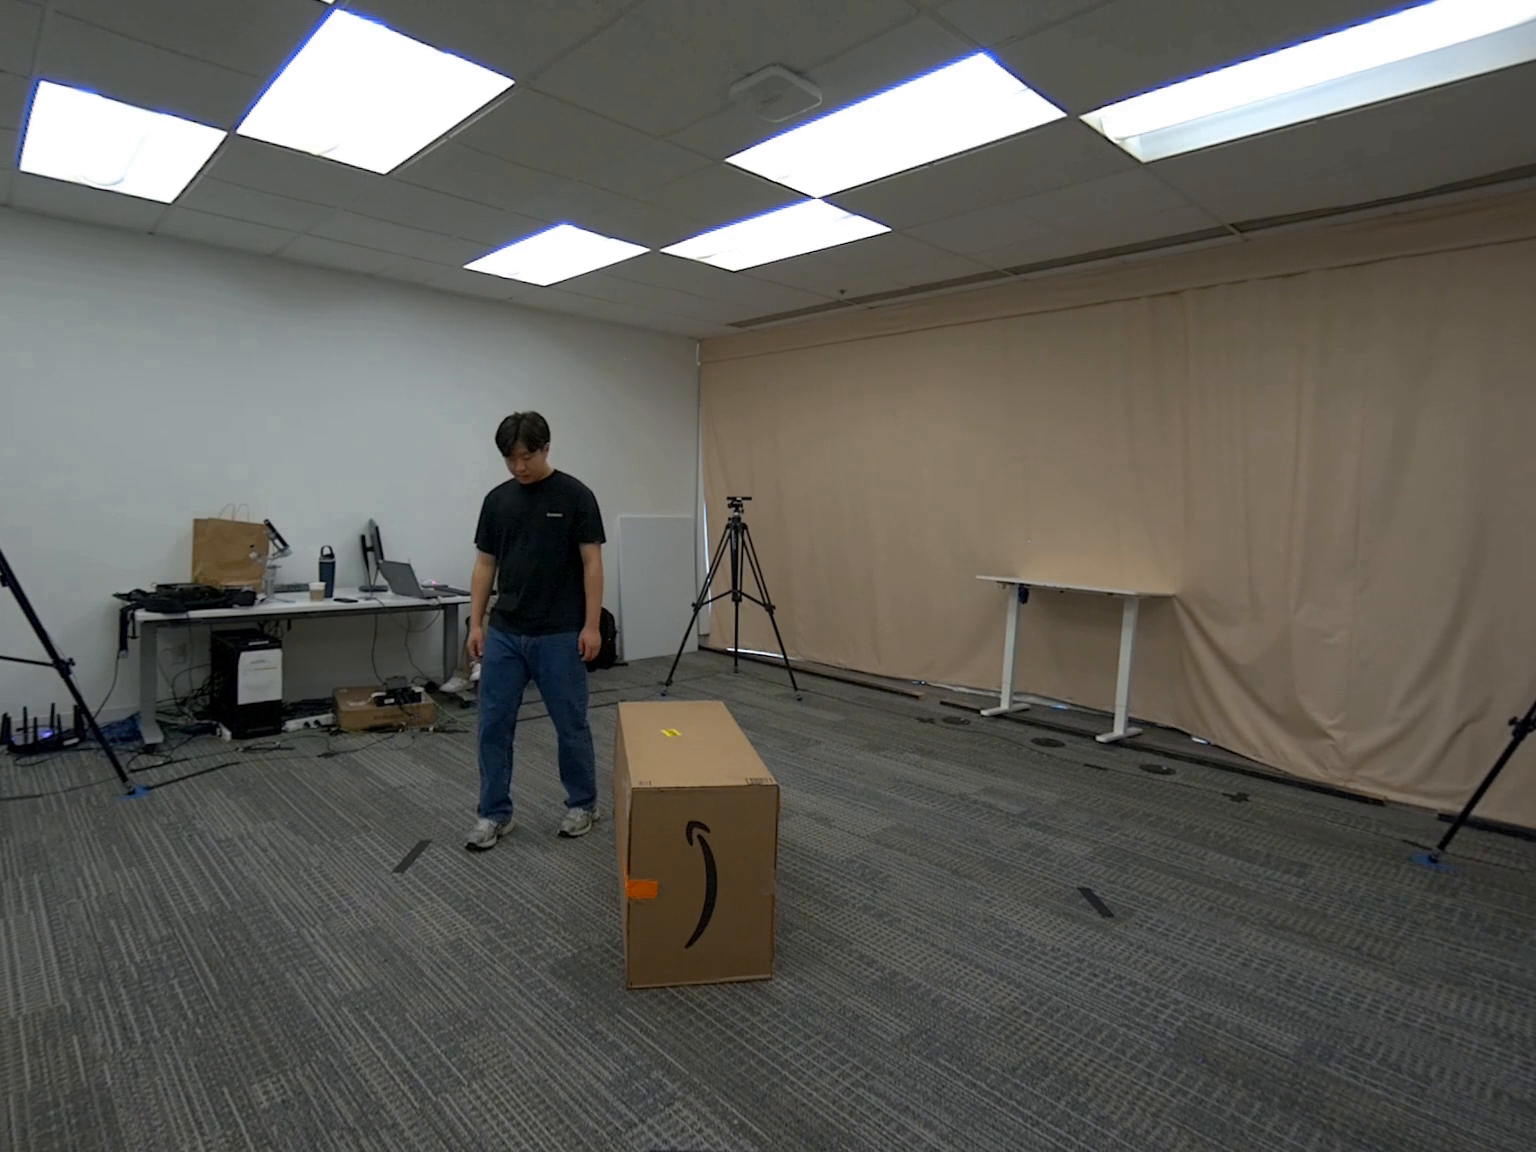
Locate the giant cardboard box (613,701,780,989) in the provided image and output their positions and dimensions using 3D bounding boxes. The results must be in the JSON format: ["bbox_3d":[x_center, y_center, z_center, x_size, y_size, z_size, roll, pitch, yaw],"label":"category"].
[{"bbox_3d":[-0.295,0.834,2.890,0.443,0.582,1.039,0,4,-12],"label":"giant cardboard box"}]
